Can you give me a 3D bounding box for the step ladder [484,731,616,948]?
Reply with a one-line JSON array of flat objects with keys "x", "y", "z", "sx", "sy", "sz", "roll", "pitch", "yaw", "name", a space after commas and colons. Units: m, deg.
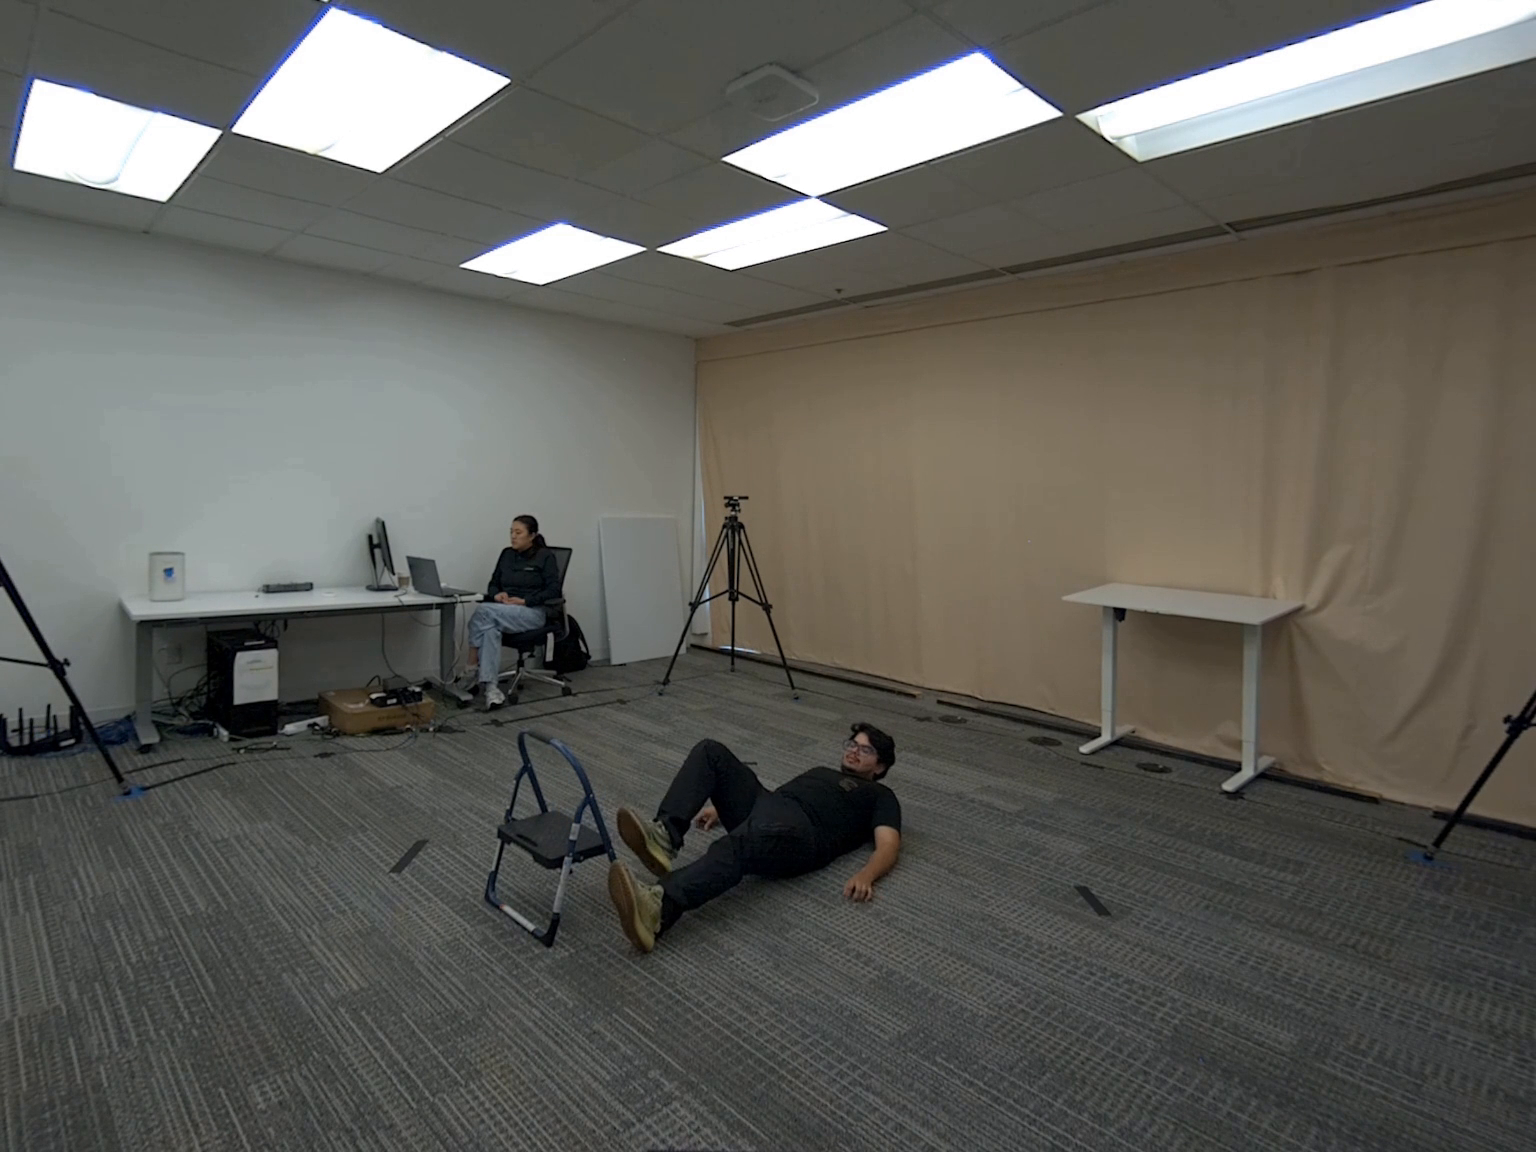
[{"x": -0.702, "y": 0.814, "z": 2.823, "sx": 0.341, "sy": 0.604, "sz": 0.441, "roll": -3, "pitch": 5, "yaw": -45, "name": "step ladder"}]
